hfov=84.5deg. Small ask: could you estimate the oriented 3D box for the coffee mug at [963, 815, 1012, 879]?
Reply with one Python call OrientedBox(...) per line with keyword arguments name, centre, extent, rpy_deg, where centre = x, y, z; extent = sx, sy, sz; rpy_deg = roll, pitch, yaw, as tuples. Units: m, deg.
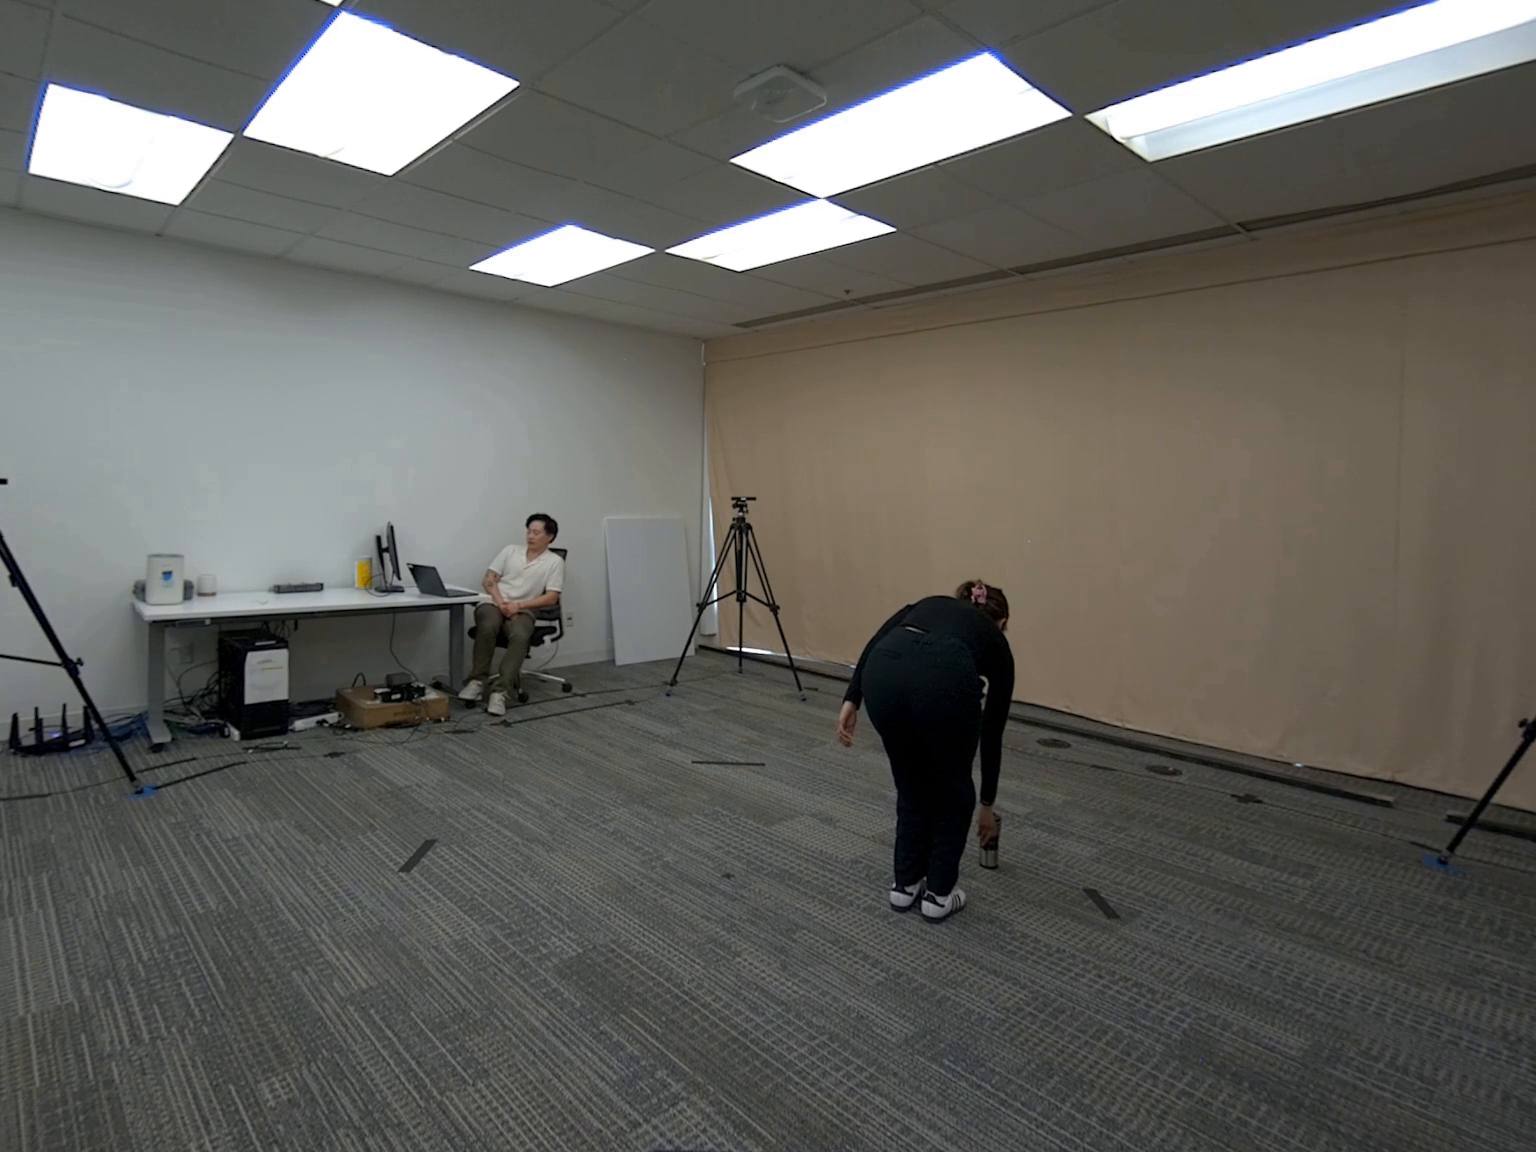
OrientedBox(name="coffee mug", centre=(0.838, 1.027, 3.236), extent=(0.119, 0.202, 0.090), rpy_deg=(4, 8, -37))
